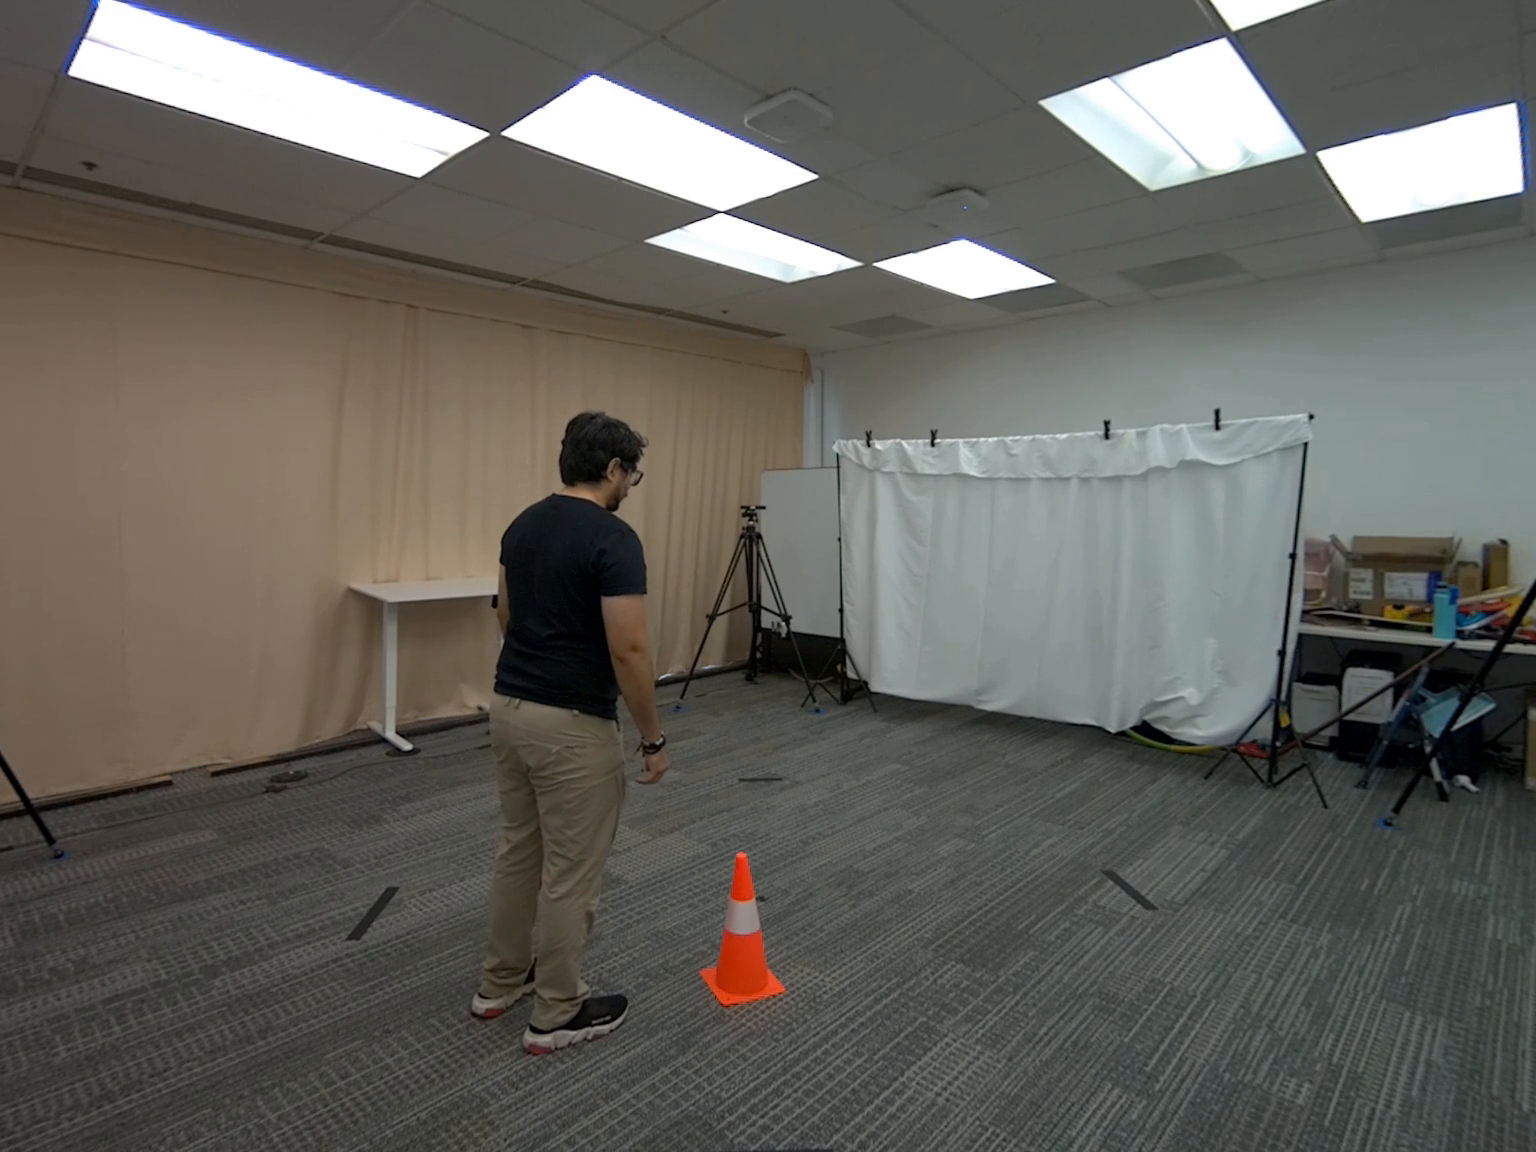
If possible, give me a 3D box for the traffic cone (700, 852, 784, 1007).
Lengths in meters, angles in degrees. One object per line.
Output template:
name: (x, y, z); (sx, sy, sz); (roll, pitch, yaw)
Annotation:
traffic cone: (-0.077, 1.007, 2.446); (0.200, 0.383, 0.209); (-3, 3, -28)
